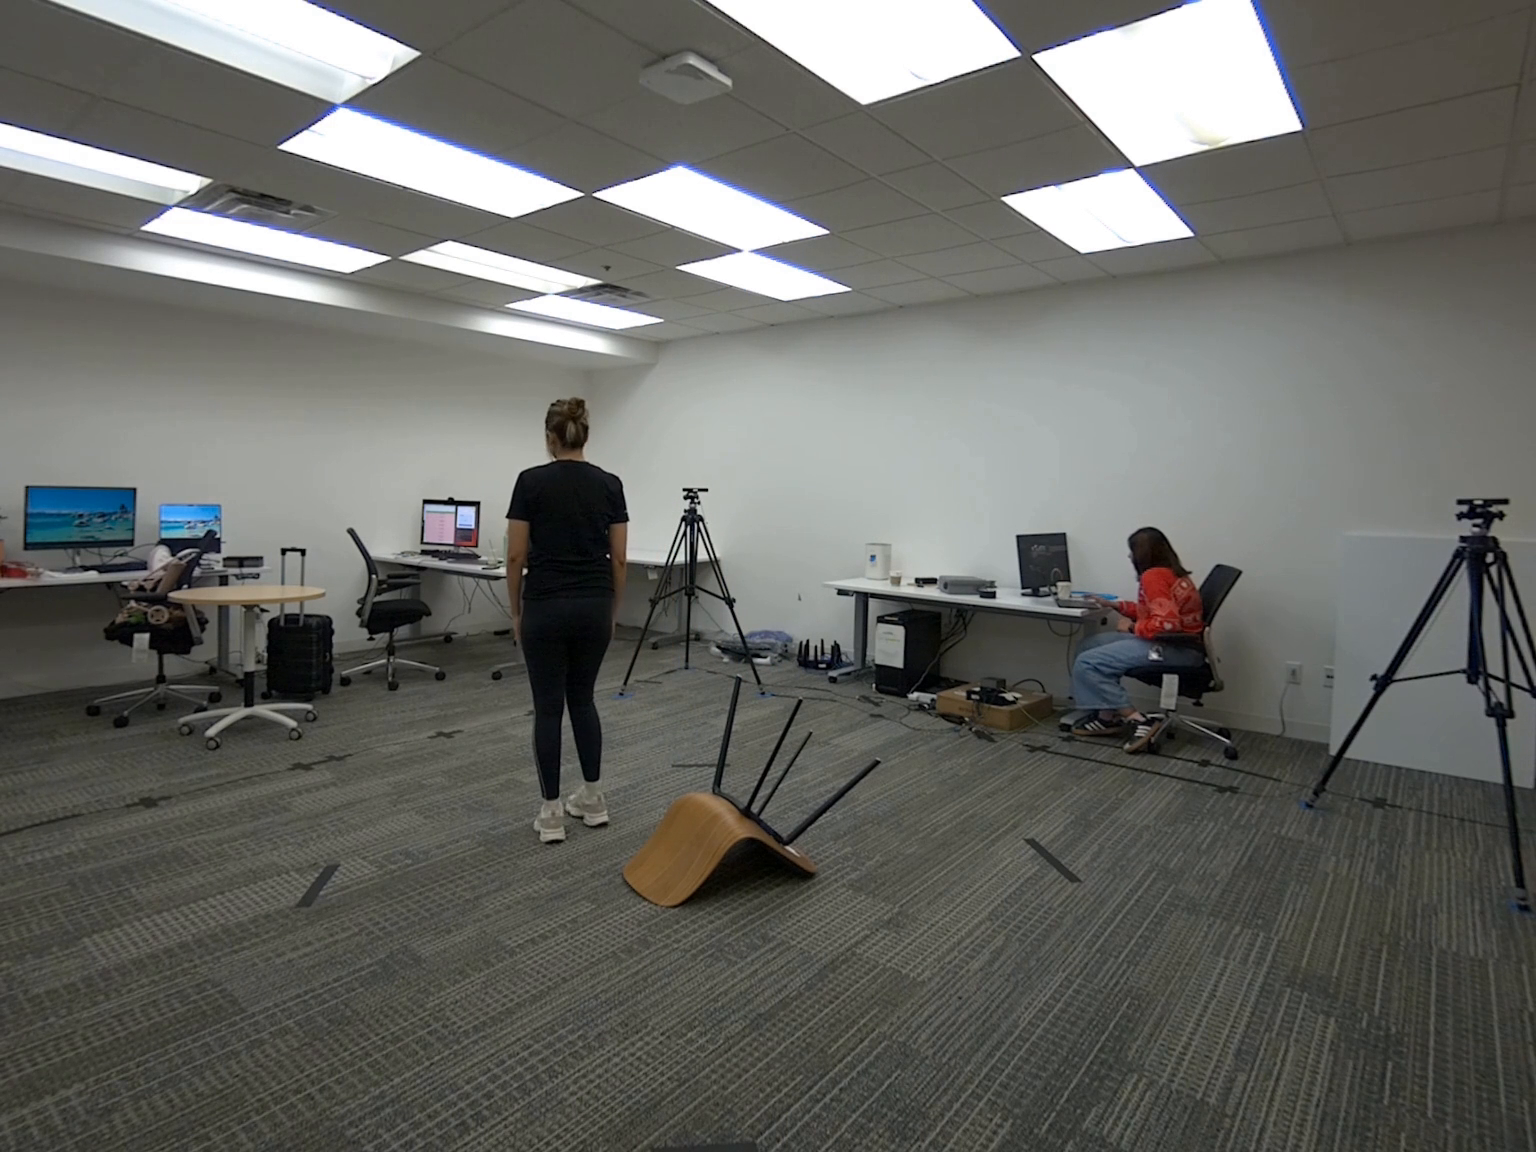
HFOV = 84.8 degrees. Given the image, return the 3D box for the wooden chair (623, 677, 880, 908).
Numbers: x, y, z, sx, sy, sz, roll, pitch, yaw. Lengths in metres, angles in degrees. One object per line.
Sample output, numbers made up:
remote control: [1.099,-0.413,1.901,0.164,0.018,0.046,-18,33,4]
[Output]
wooden chair: [-0.073,0.894,3.161,0.507,0.879,0.492,44,-19,-25]
